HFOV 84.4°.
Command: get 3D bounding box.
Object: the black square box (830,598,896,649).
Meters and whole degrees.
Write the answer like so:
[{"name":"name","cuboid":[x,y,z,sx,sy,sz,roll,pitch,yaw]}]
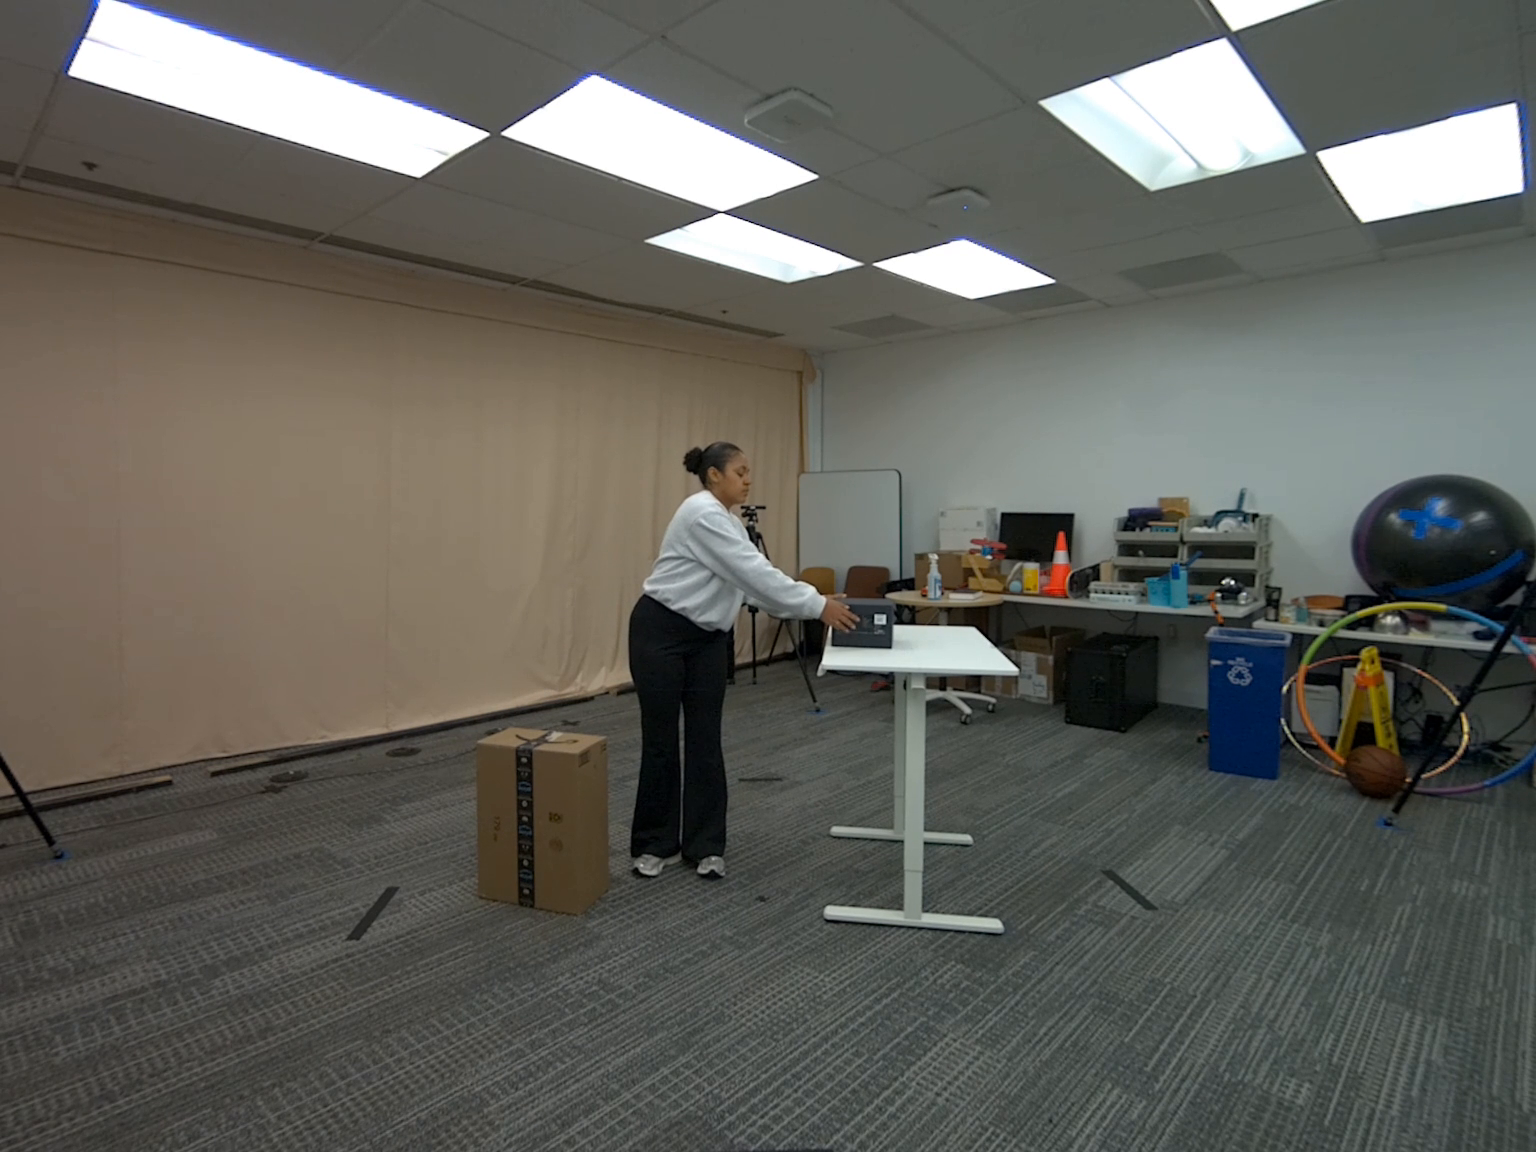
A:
[{"name":"black square box","cuboid":[0.361,0.173,3.102,0.220,0.156,0.225,1,3,11]}]
